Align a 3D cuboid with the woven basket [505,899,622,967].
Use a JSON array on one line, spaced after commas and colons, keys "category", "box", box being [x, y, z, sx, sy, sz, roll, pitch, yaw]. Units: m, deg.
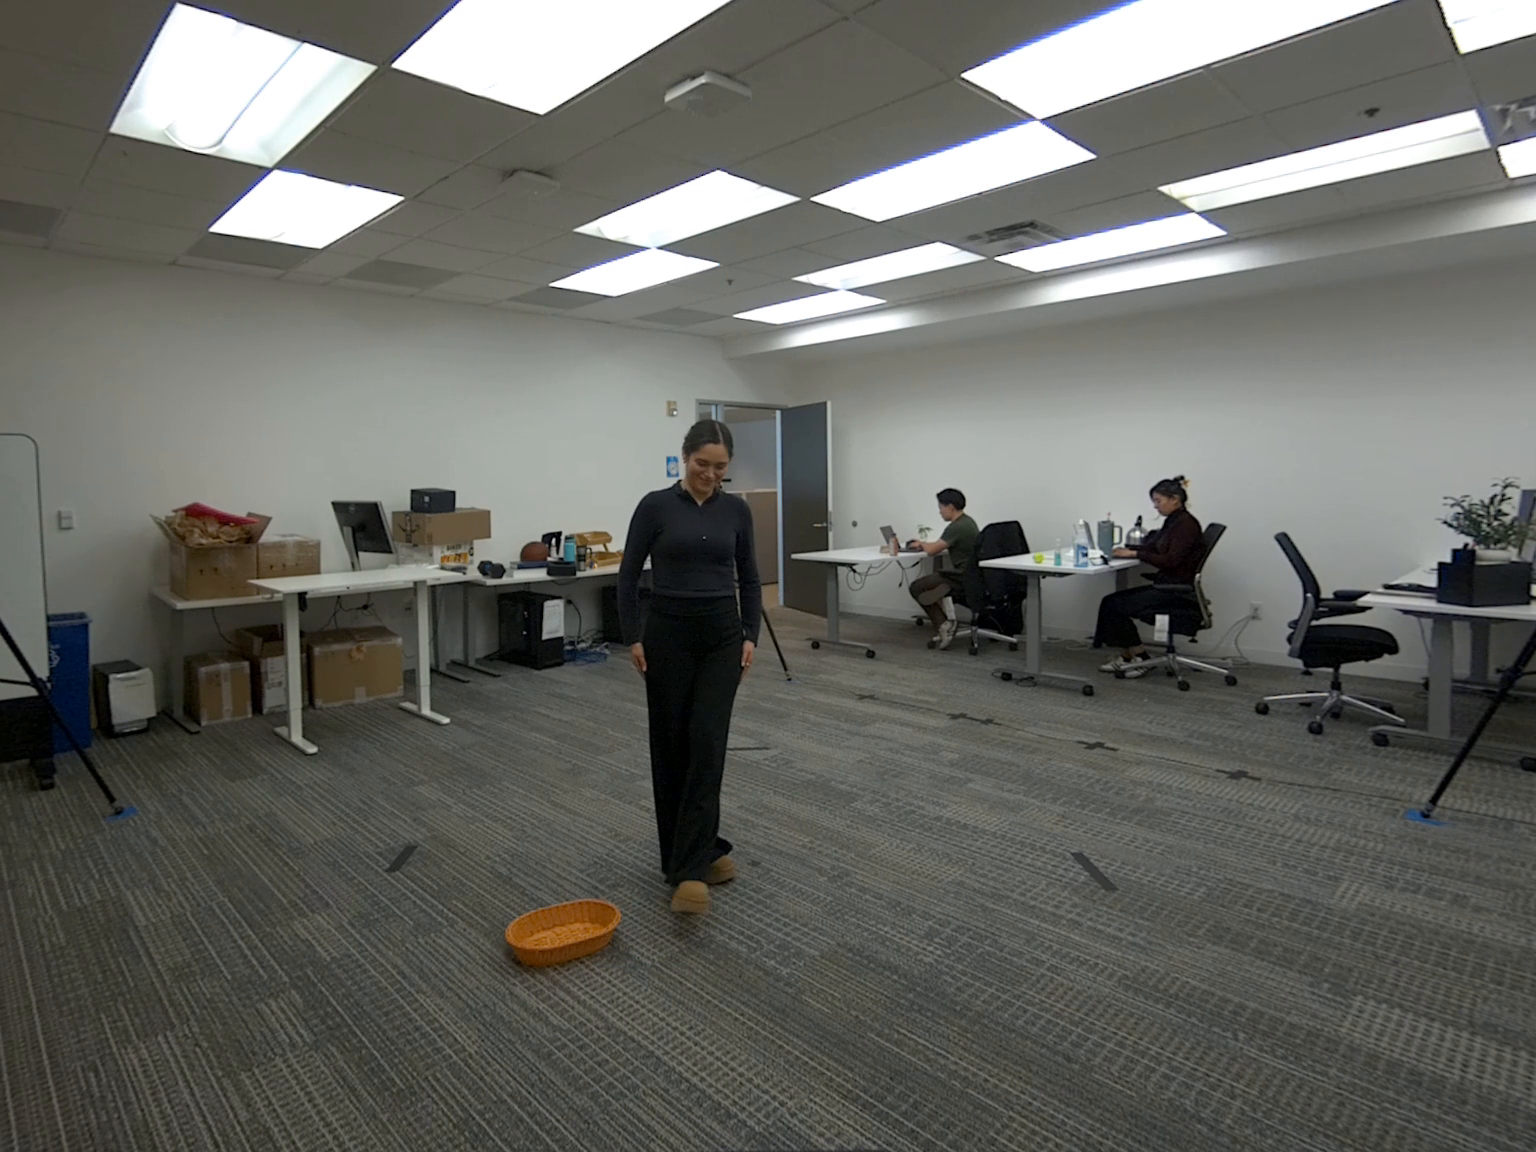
[{"category": "woven basket", "box": [-0.607, 1.074, 2.578, 0.344, 0.073, 0.258, -4, 6, -23]}]
